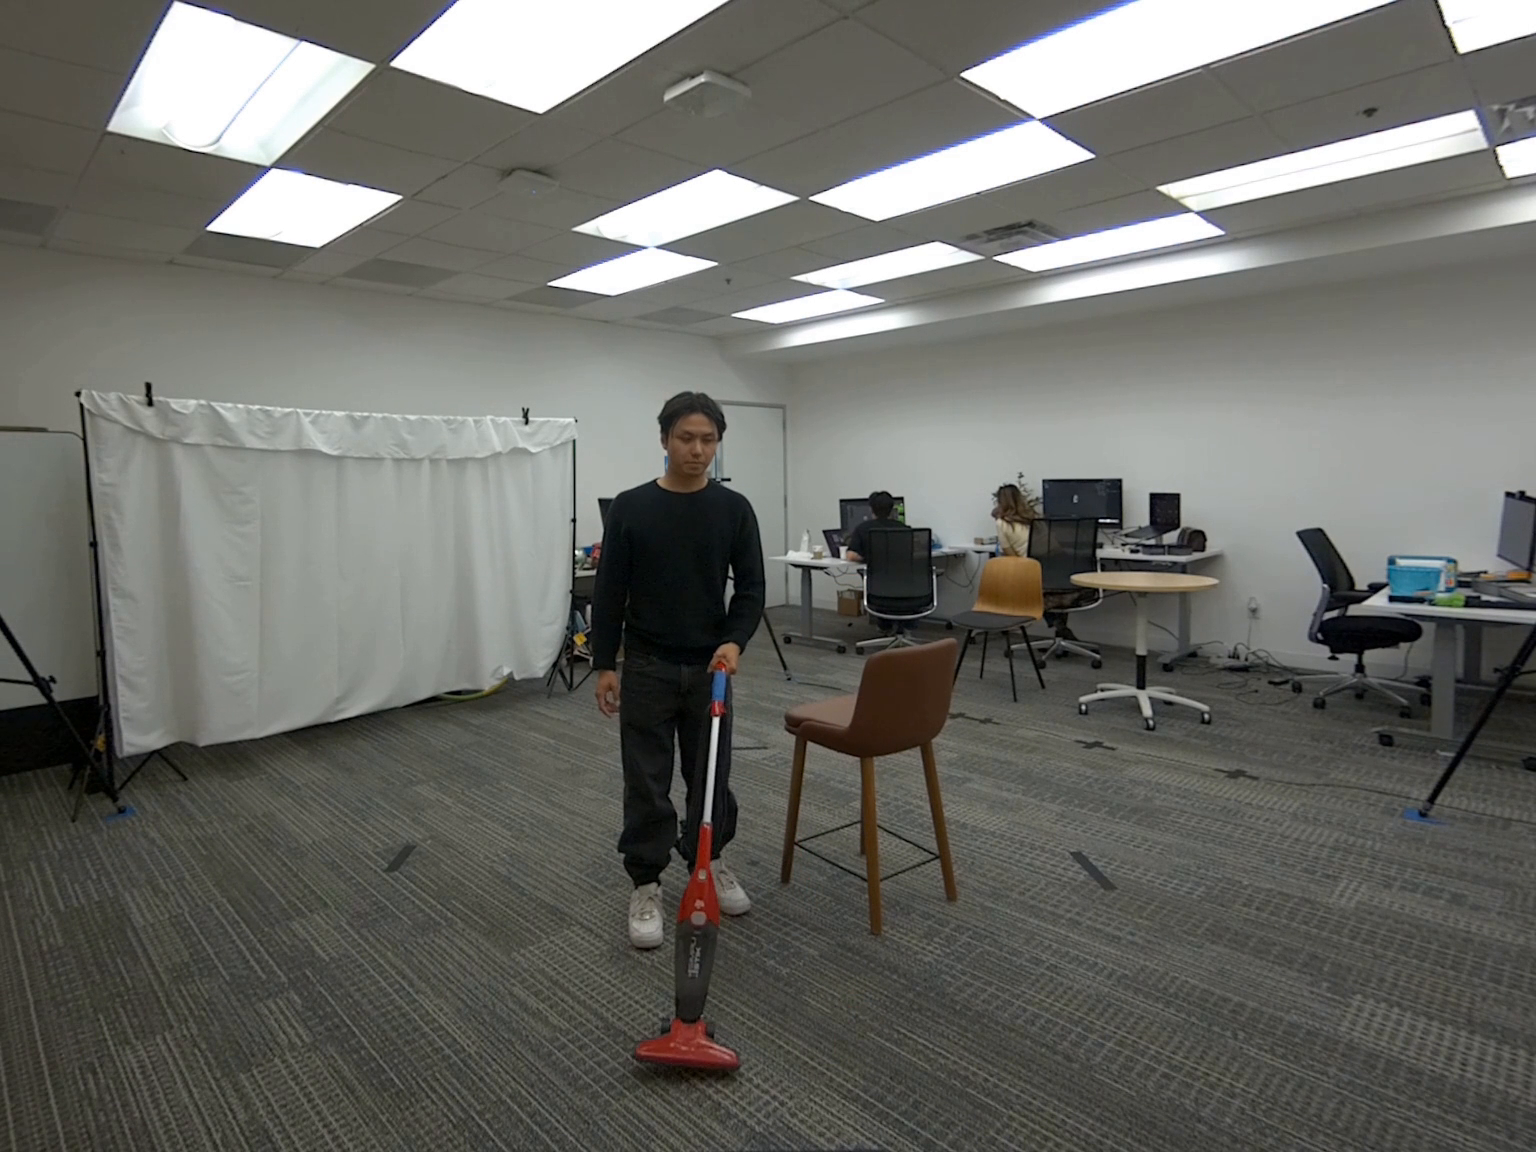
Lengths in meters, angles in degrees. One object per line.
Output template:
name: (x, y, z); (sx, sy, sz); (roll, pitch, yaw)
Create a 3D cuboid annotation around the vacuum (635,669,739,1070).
vacuum: (-0.160, 0.697, 2.322); (0.252, 1.073, 0.141); (6, -31, -4)
